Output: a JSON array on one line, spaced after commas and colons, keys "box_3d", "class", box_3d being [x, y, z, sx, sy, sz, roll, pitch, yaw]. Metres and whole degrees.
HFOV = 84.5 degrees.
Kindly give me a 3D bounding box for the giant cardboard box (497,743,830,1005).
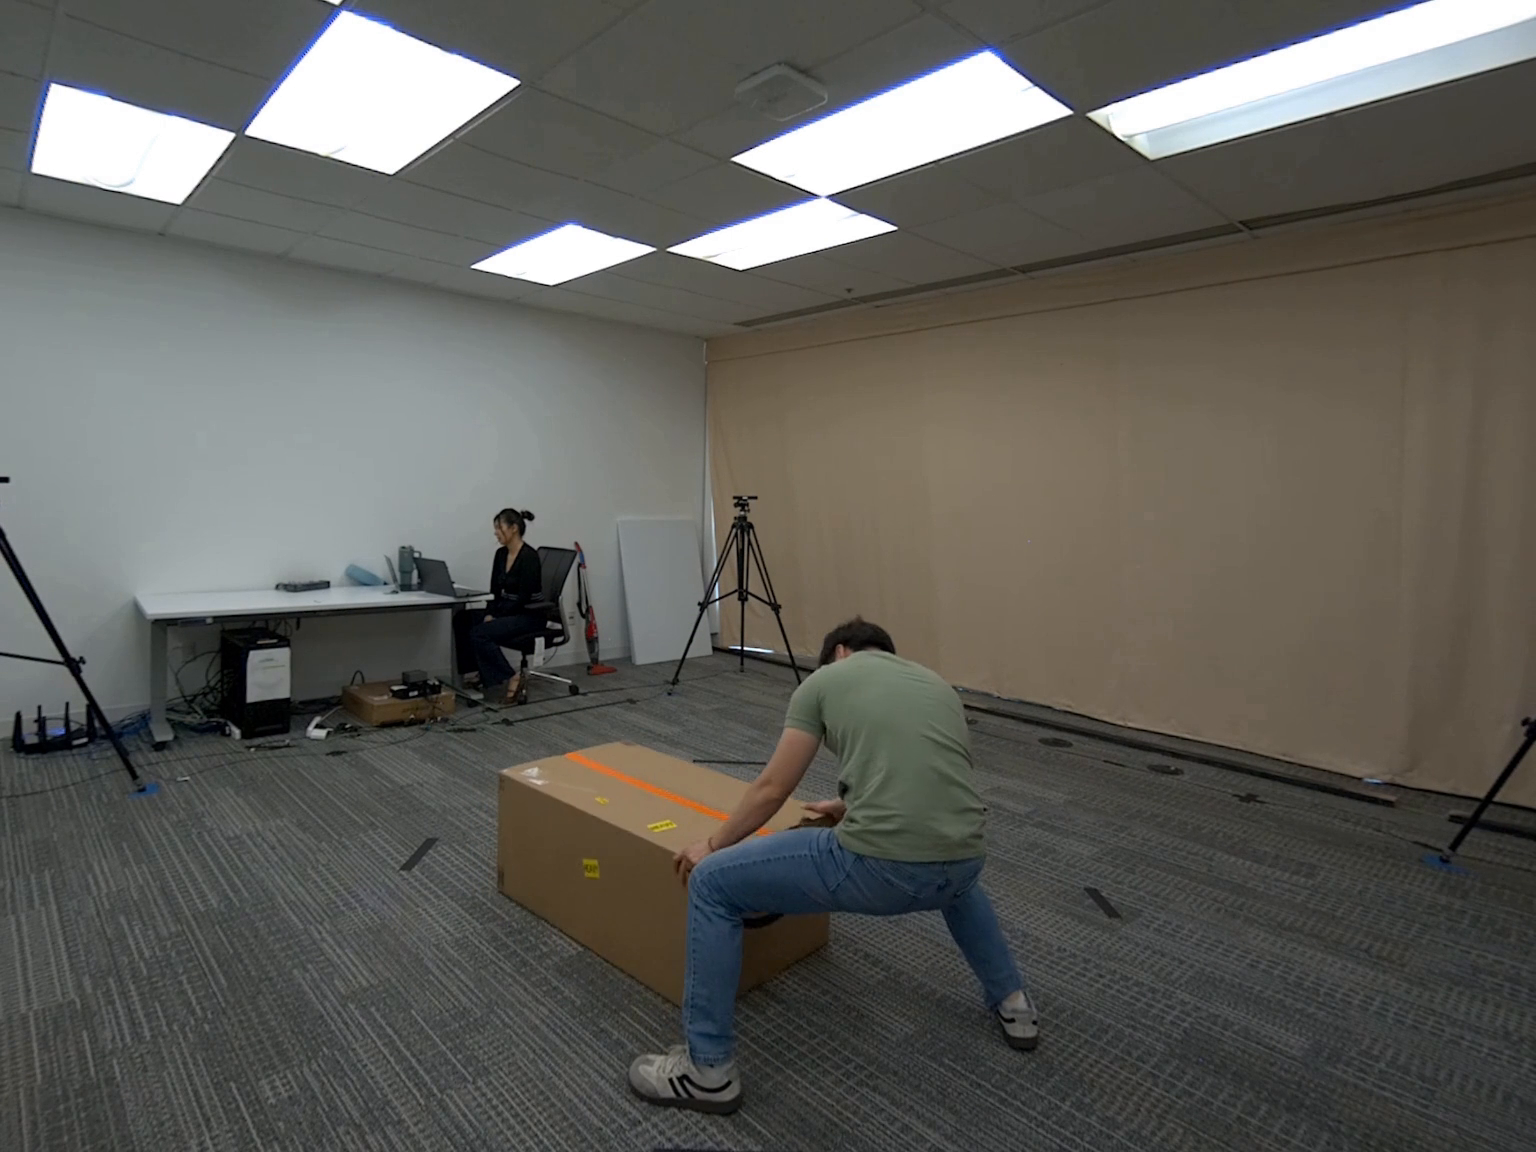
[{"box_3d": [-0.379, 0.917, 2.781, 1.052, 0.425, 0.565, 6, 7, 42], "class": "giant cardboard box"}]
